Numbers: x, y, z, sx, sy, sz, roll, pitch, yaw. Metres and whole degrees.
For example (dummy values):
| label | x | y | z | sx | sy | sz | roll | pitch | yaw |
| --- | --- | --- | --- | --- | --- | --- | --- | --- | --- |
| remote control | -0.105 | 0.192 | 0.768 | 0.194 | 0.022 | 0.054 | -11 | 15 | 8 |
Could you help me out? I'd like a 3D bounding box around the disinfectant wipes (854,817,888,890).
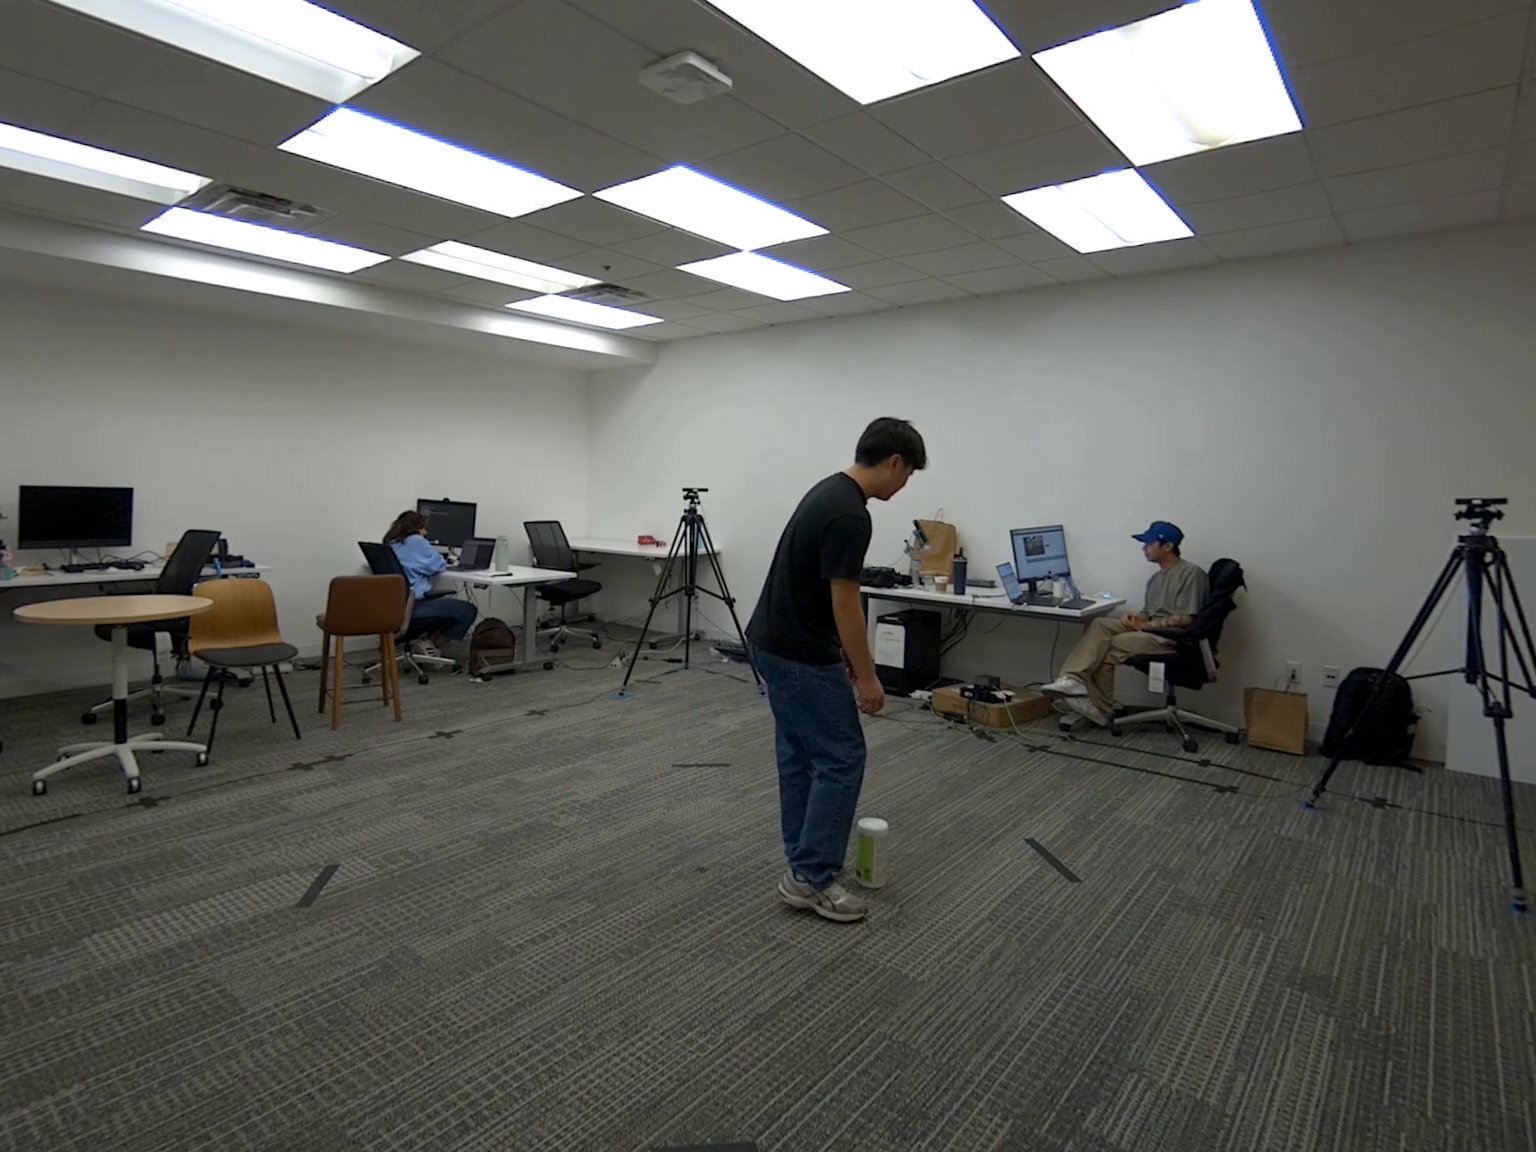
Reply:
| label | x | y | z | sx | sy | sz | roll | pitch | yaw |
| --- | --- | --- | --- | --- | --- | --- | --- | --- | --- |
| disinfectant wipes | 0.365 | 0.991 | 3.034 | 0.117 | 0.217 | 0.118 | 2 | 4 | -2 |
